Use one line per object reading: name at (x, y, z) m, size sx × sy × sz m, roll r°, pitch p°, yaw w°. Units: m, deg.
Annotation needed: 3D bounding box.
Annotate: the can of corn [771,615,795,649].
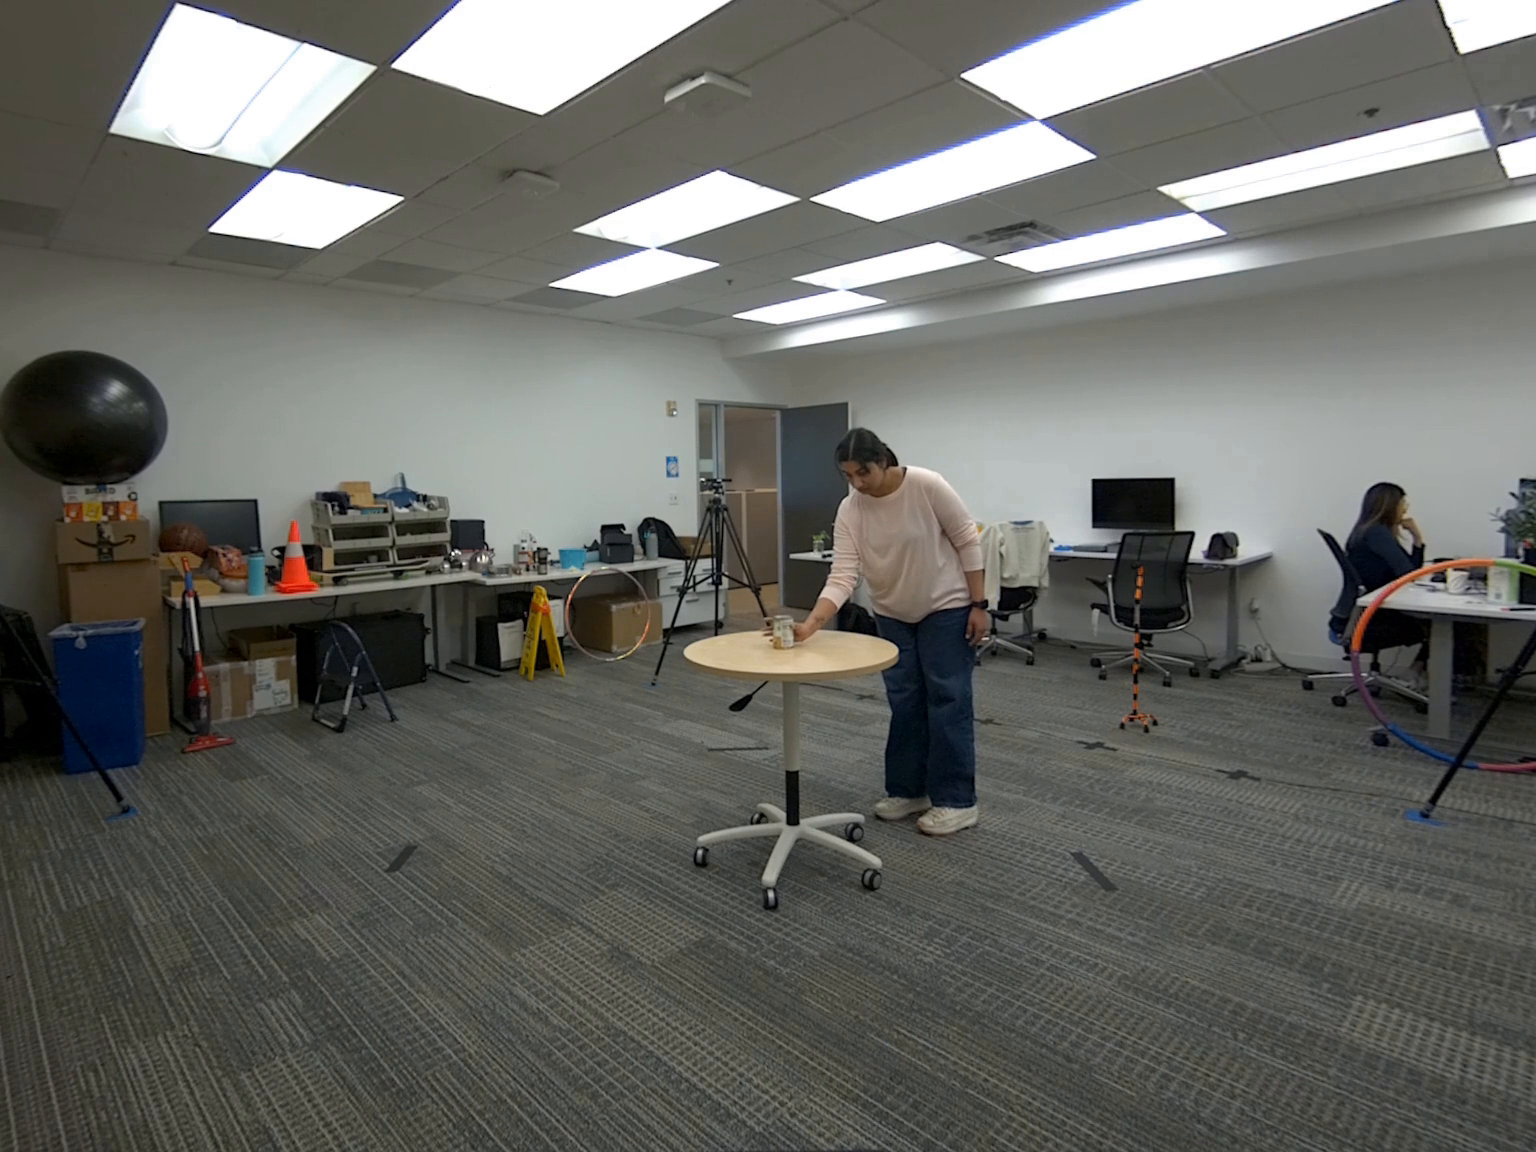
can of corn at (0.054, 0.204, 3.093) m, size 0.074 × 0.110 × 0.074 m, roll -2°, pitch 4°, yaw -1°
